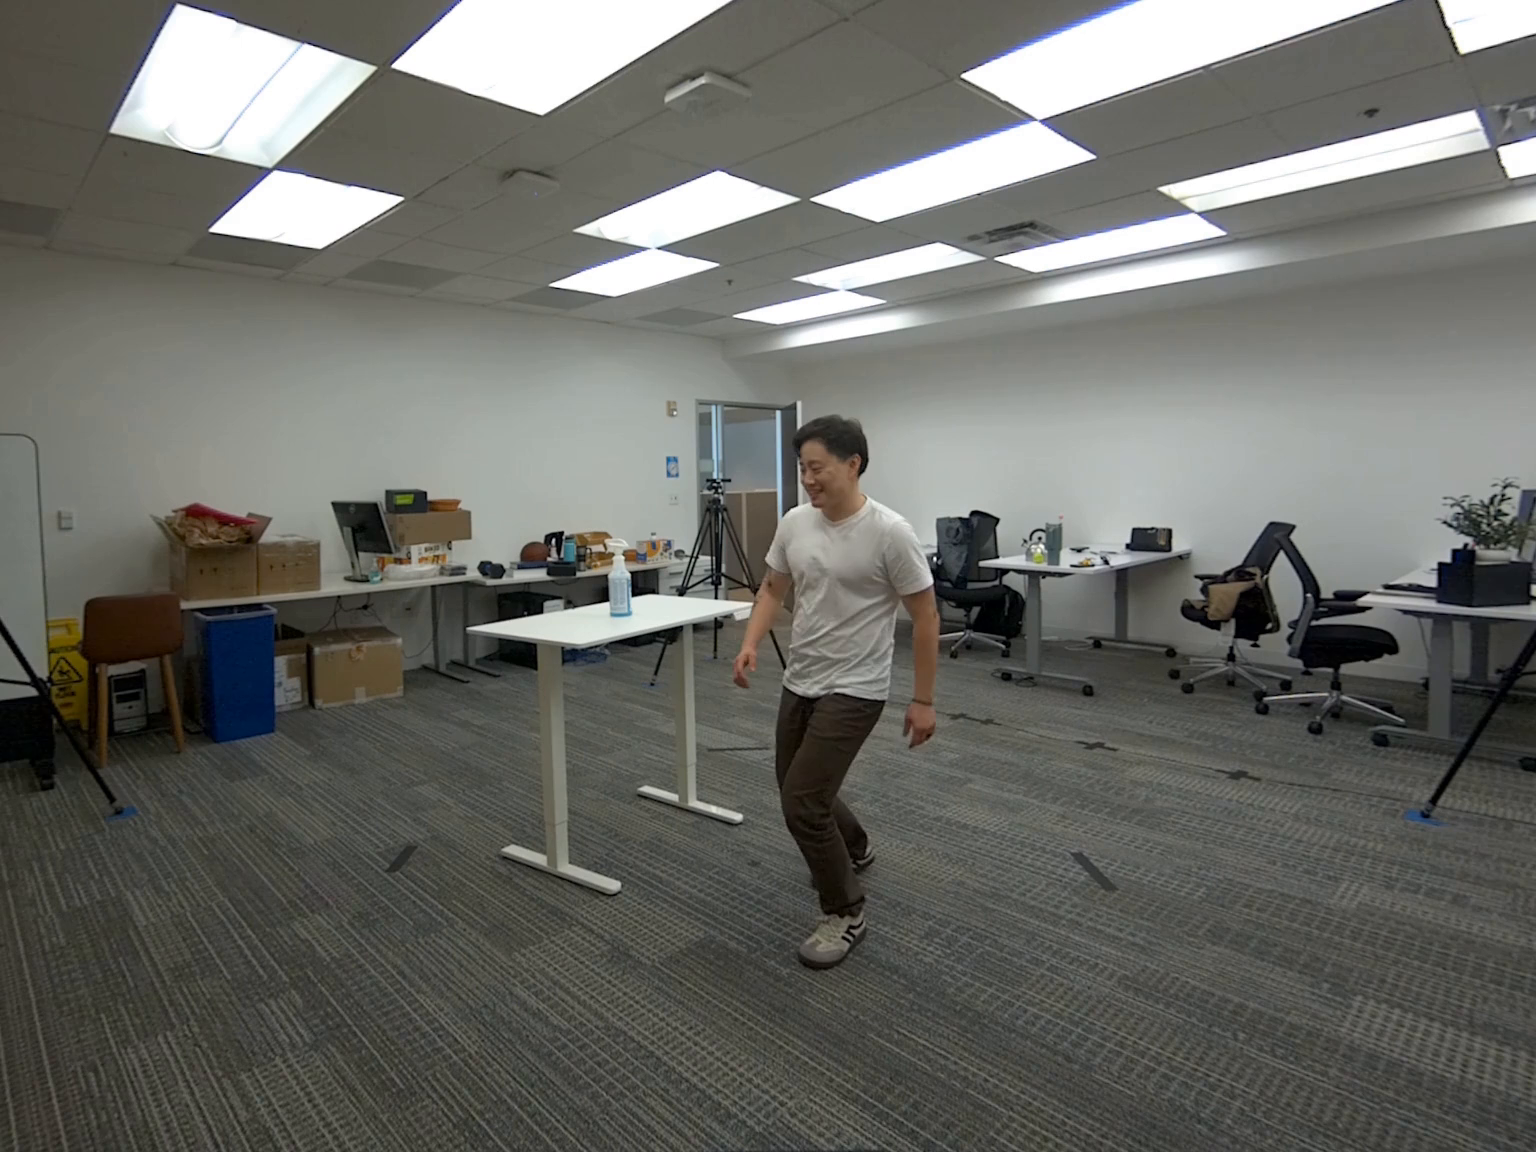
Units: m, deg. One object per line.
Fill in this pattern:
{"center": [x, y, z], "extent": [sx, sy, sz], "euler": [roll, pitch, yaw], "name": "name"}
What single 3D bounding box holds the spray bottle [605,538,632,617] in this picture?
{"center": [-0.573, 0.007, 3.292], "extent": [0.092, 0.296, 0.085], "euler": [0, 4, 33], "name": "spray bottle"}
